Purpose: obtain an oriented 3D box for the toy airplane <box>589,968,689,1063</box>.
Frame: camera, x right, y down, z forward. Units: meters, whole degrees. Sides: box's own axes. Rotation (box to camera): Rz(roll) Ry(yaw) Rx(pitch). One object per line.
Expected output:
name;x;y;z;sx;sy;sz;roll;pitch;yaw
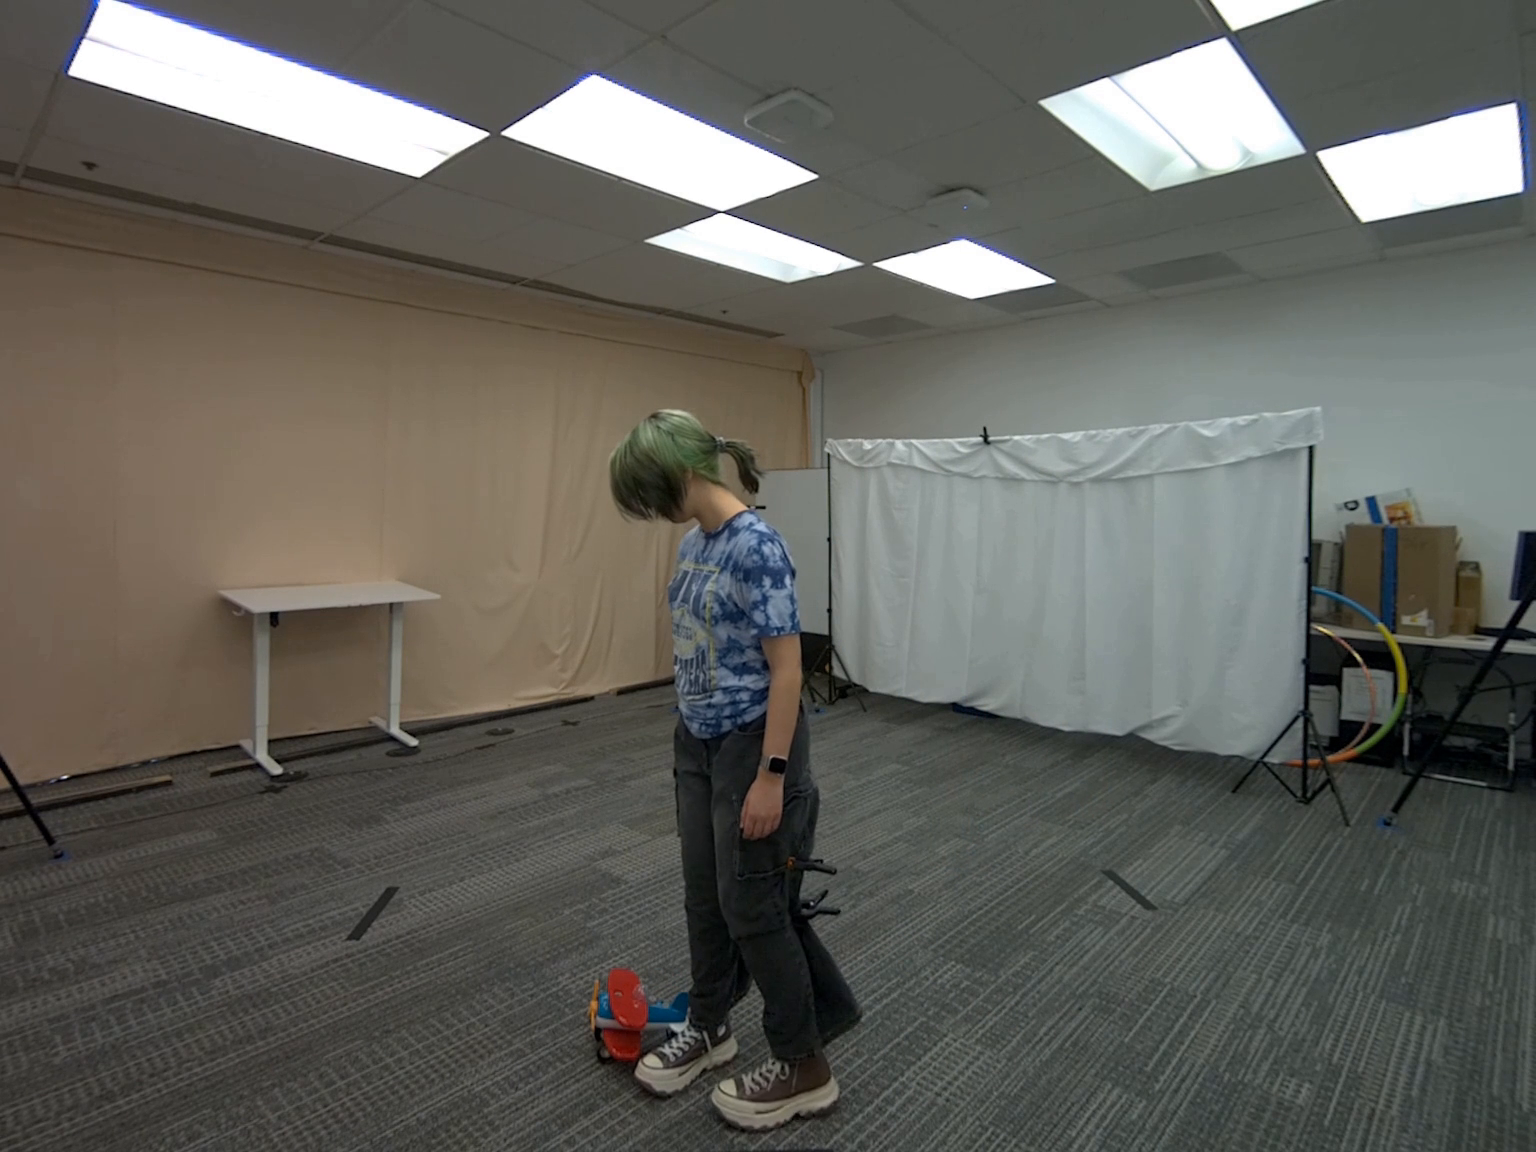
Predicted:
toy airplane;-0.336;1.146;2.183;0.251;0.156;0.259;-6;8;-40
